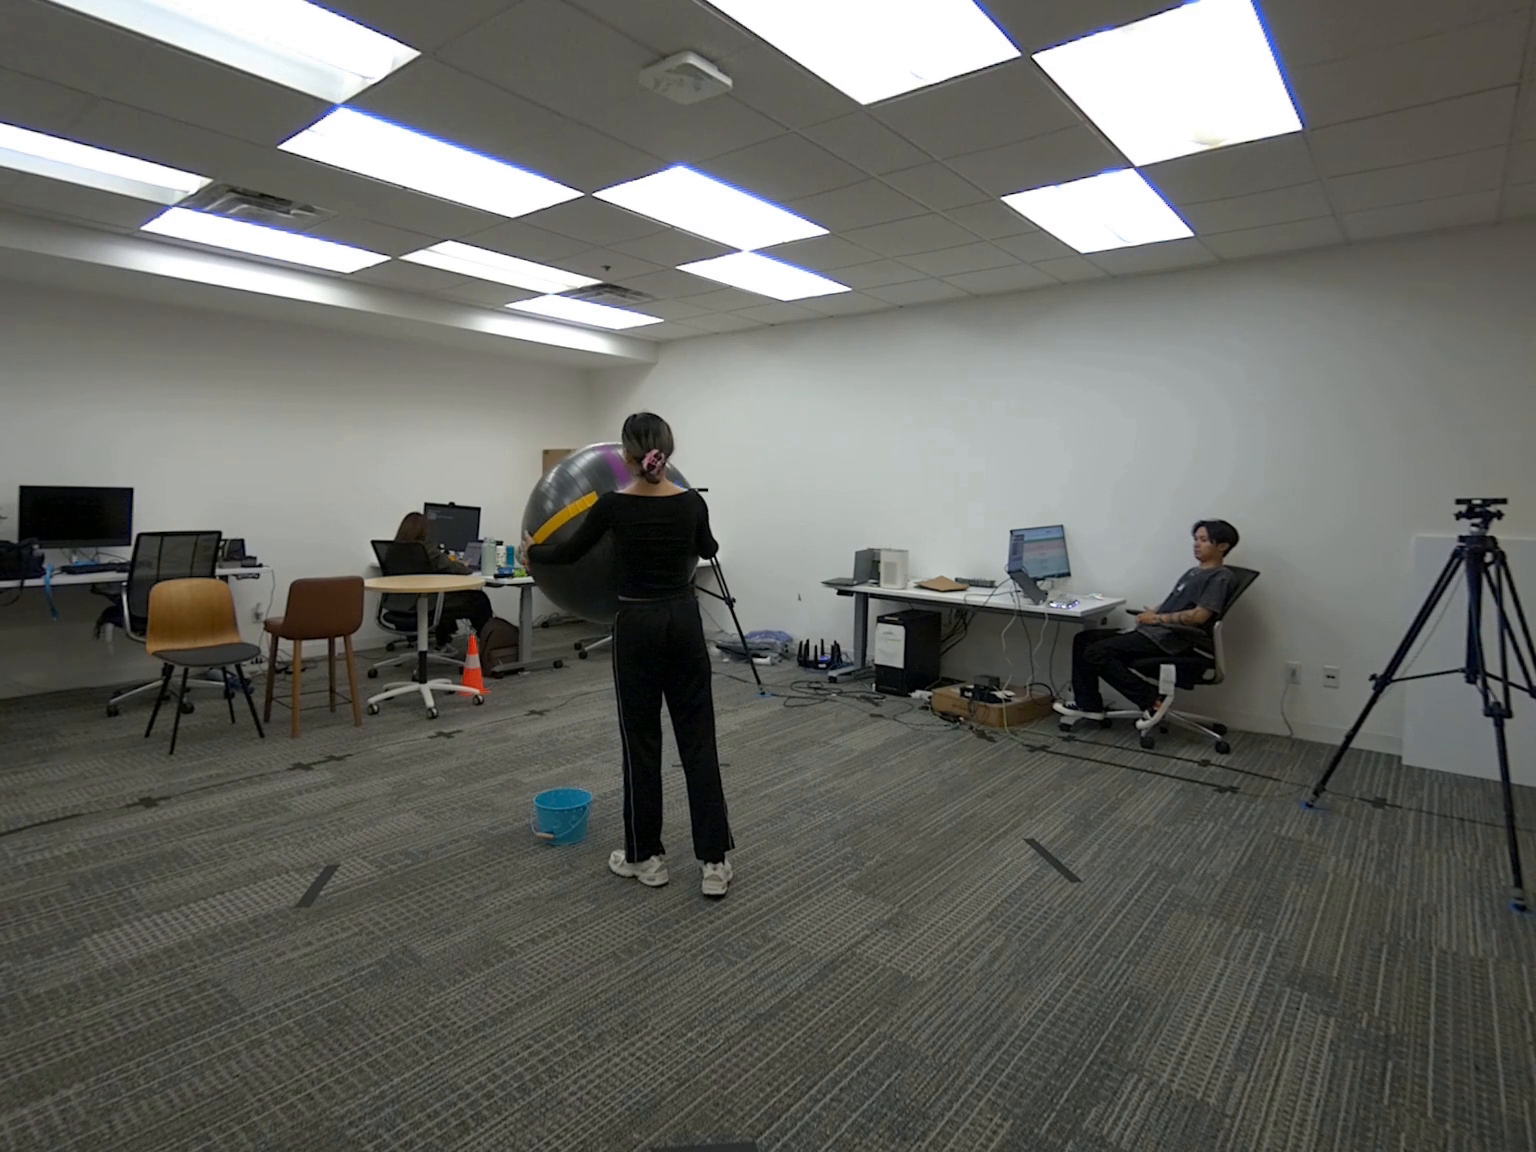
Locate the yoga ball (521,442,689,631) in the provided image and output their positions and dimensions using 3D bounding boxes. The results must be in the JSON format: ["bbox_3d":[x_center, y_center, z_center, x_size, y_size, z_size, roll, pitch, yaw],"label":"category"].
[{"bbox_3d":[-0.664,-0.168,3.567,0.757,0.755,0.762,1,4,-2],"label":"yoga ball"}]
